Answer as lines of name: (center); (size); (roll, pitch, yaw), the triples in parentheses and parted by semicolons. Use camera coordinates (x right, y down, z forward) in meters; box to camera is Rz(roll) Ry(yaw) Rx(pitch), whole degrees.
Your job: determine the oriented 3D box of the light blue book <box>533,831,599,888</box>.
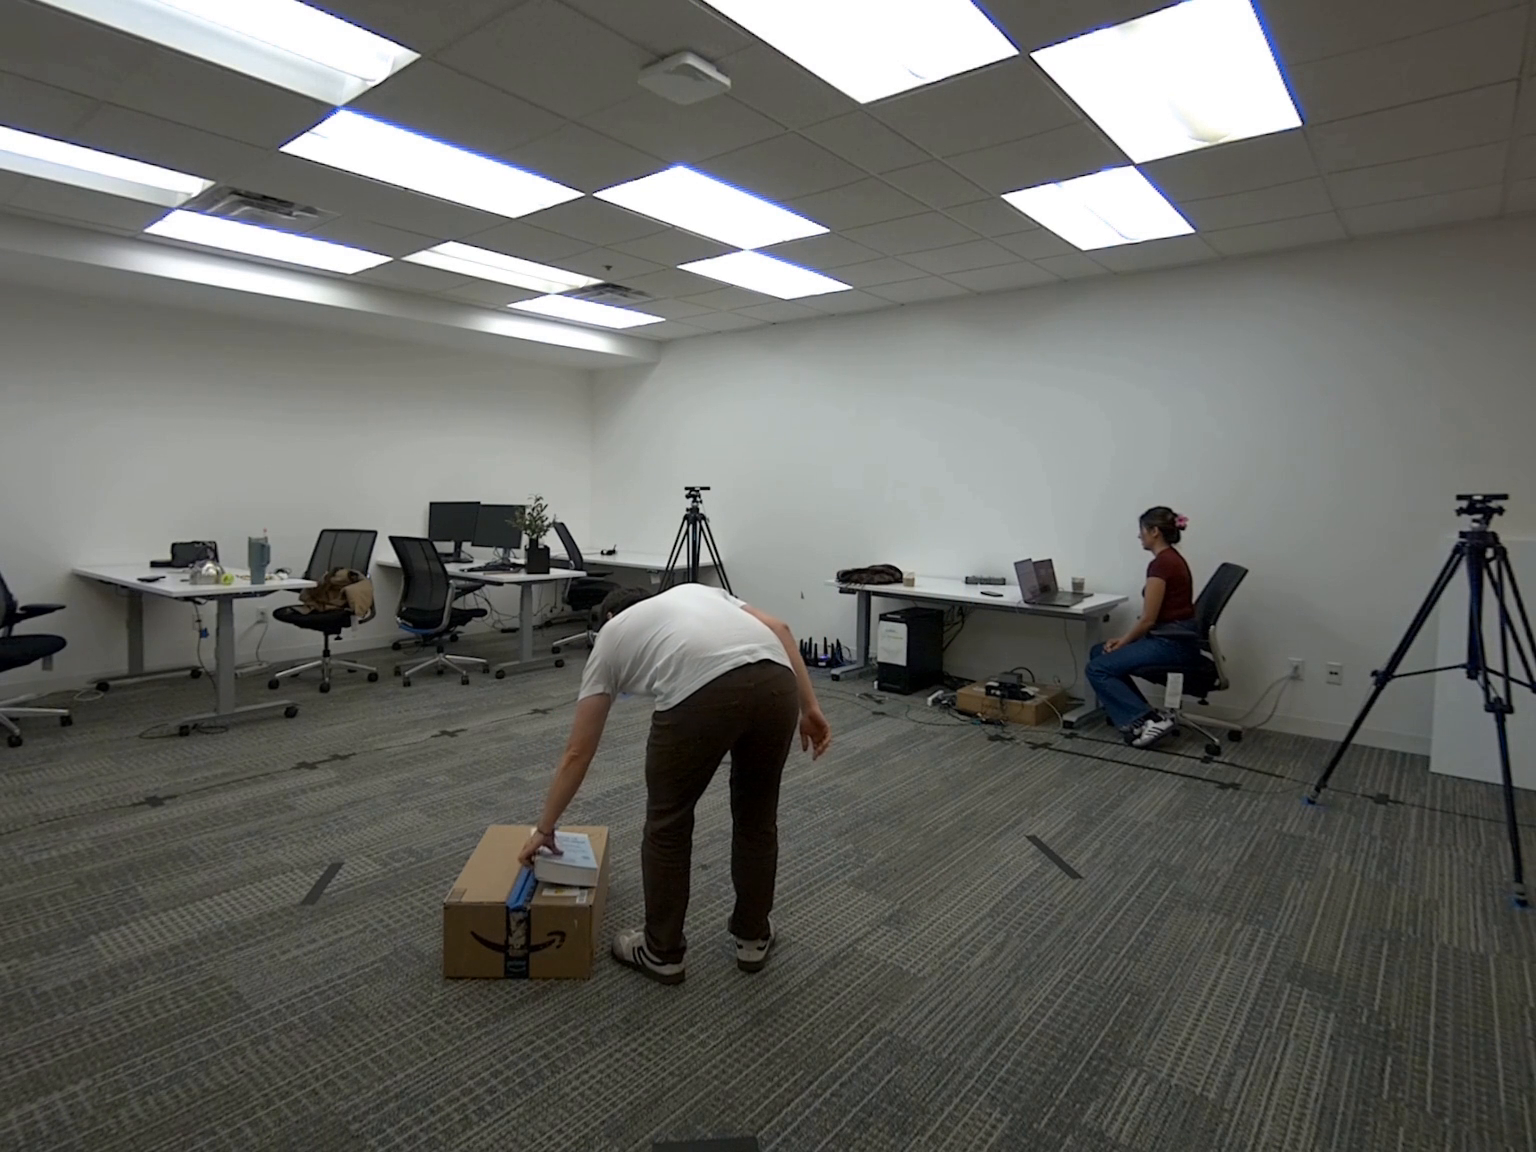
light blue book: (-0.643, 0.854, 2.588); (0.187, 0.059, 0.266); (11, 0, -18)
